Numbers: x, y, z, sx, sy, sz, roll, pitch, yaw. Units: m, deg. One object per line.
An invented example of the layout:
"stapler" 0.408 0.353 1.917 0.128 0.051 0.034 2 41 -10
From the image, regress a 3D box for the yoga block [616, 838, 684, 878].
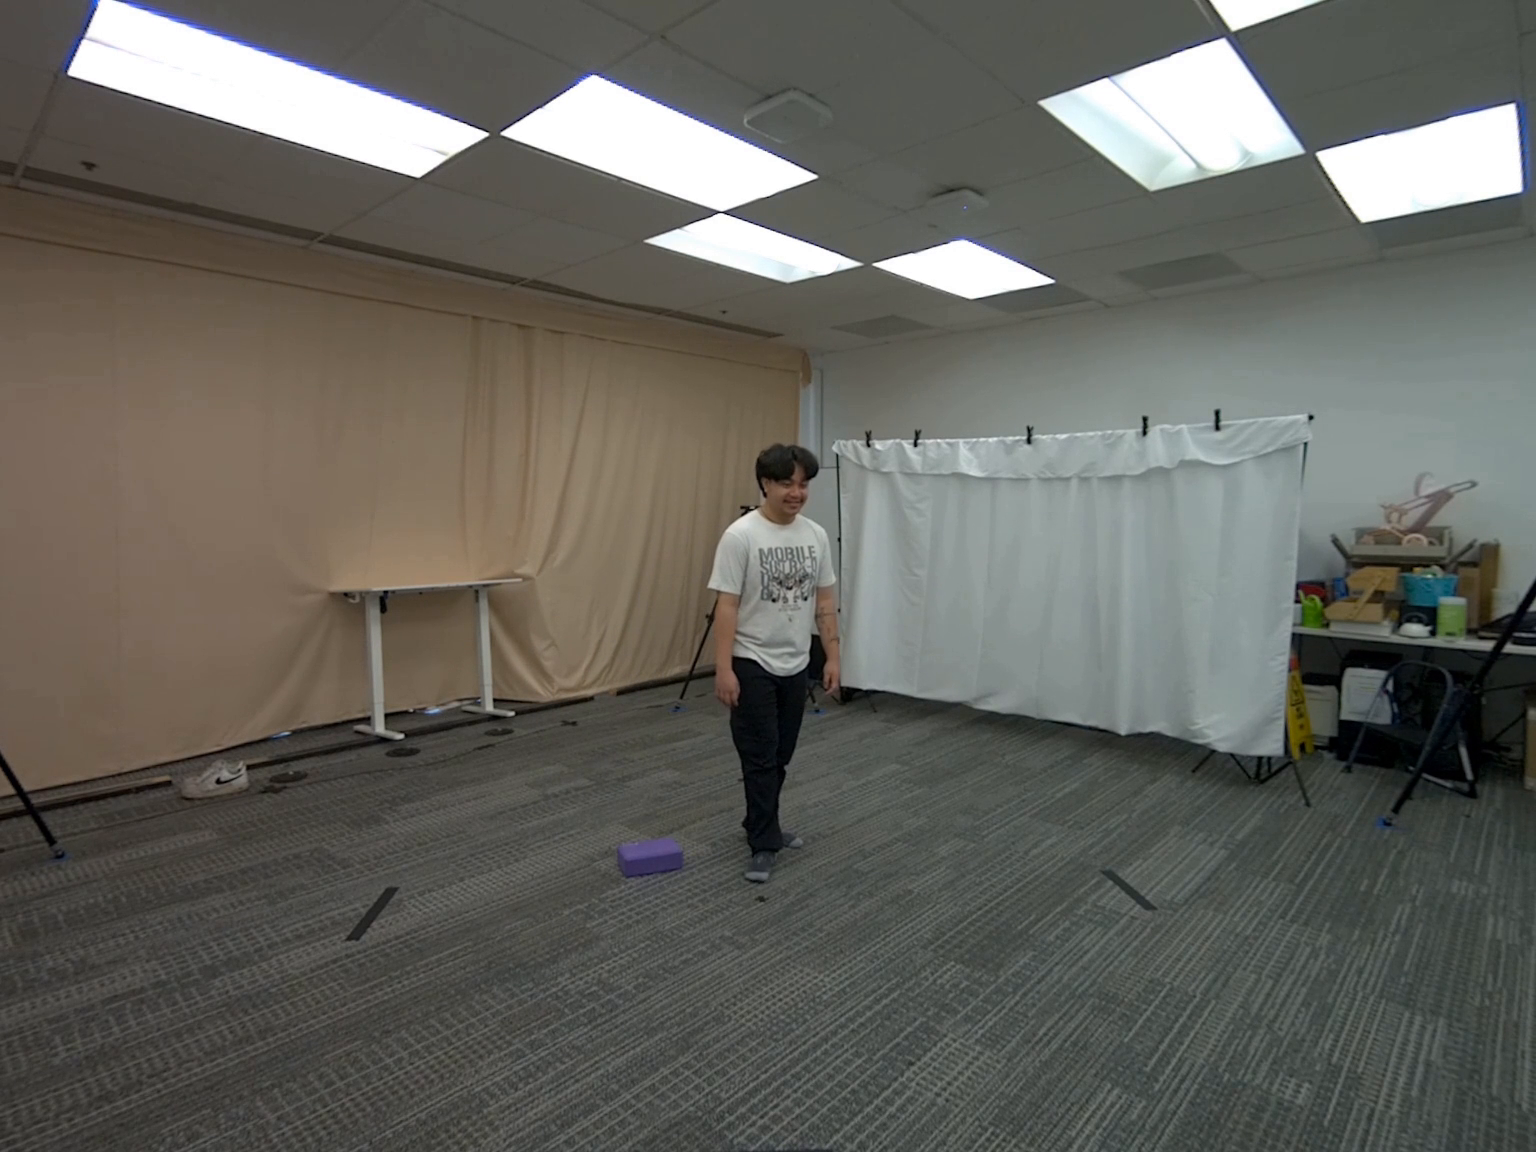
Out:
"yoga block" -0.454 1.084 3.257 0.225 0.076 0.152 -3 6 -20
